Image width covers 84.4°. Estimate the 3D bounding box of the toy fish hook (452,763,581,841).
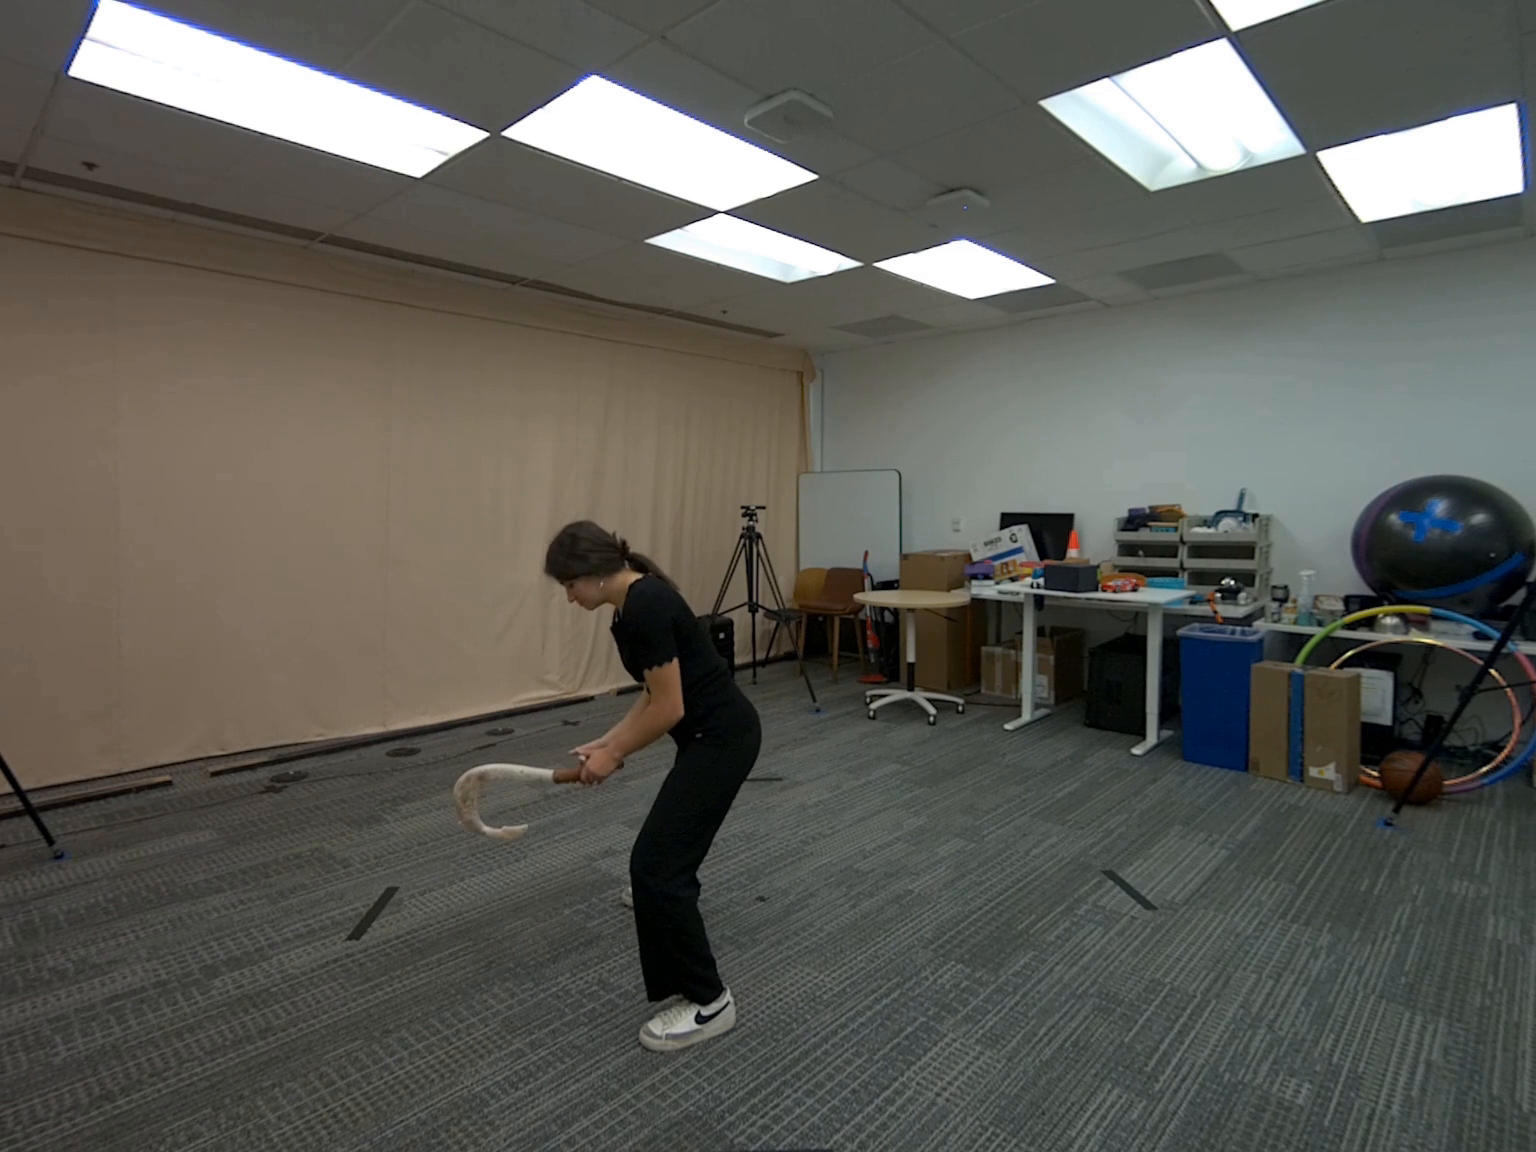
[{"bbox_3d":[-0.641,0.632,2.389,0.509,0.224,0.048,-10,3,5],"label":"toy fish hook"}]
